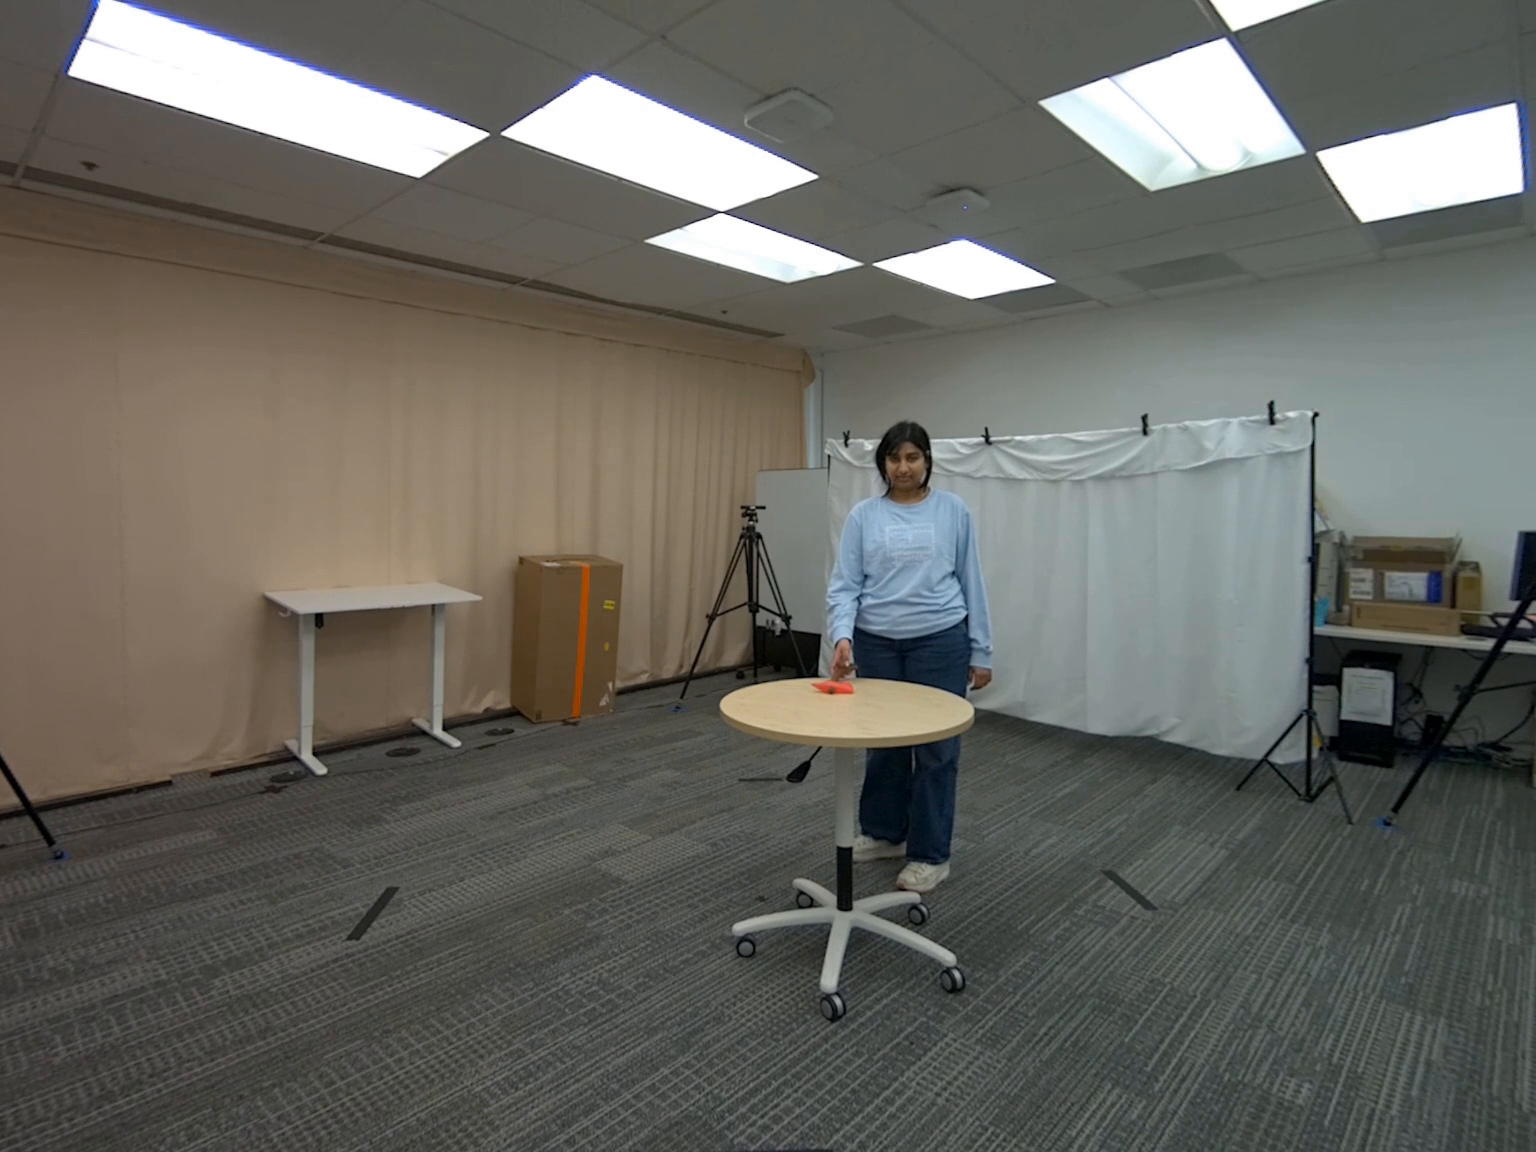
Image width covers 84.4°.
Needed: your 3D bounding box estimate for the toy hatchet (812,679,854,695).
[{"bbox_3d":[0.272,0.346,2.822,0.135,0.029,0.263,8,13,33],"label":"toy hatchet"}]
